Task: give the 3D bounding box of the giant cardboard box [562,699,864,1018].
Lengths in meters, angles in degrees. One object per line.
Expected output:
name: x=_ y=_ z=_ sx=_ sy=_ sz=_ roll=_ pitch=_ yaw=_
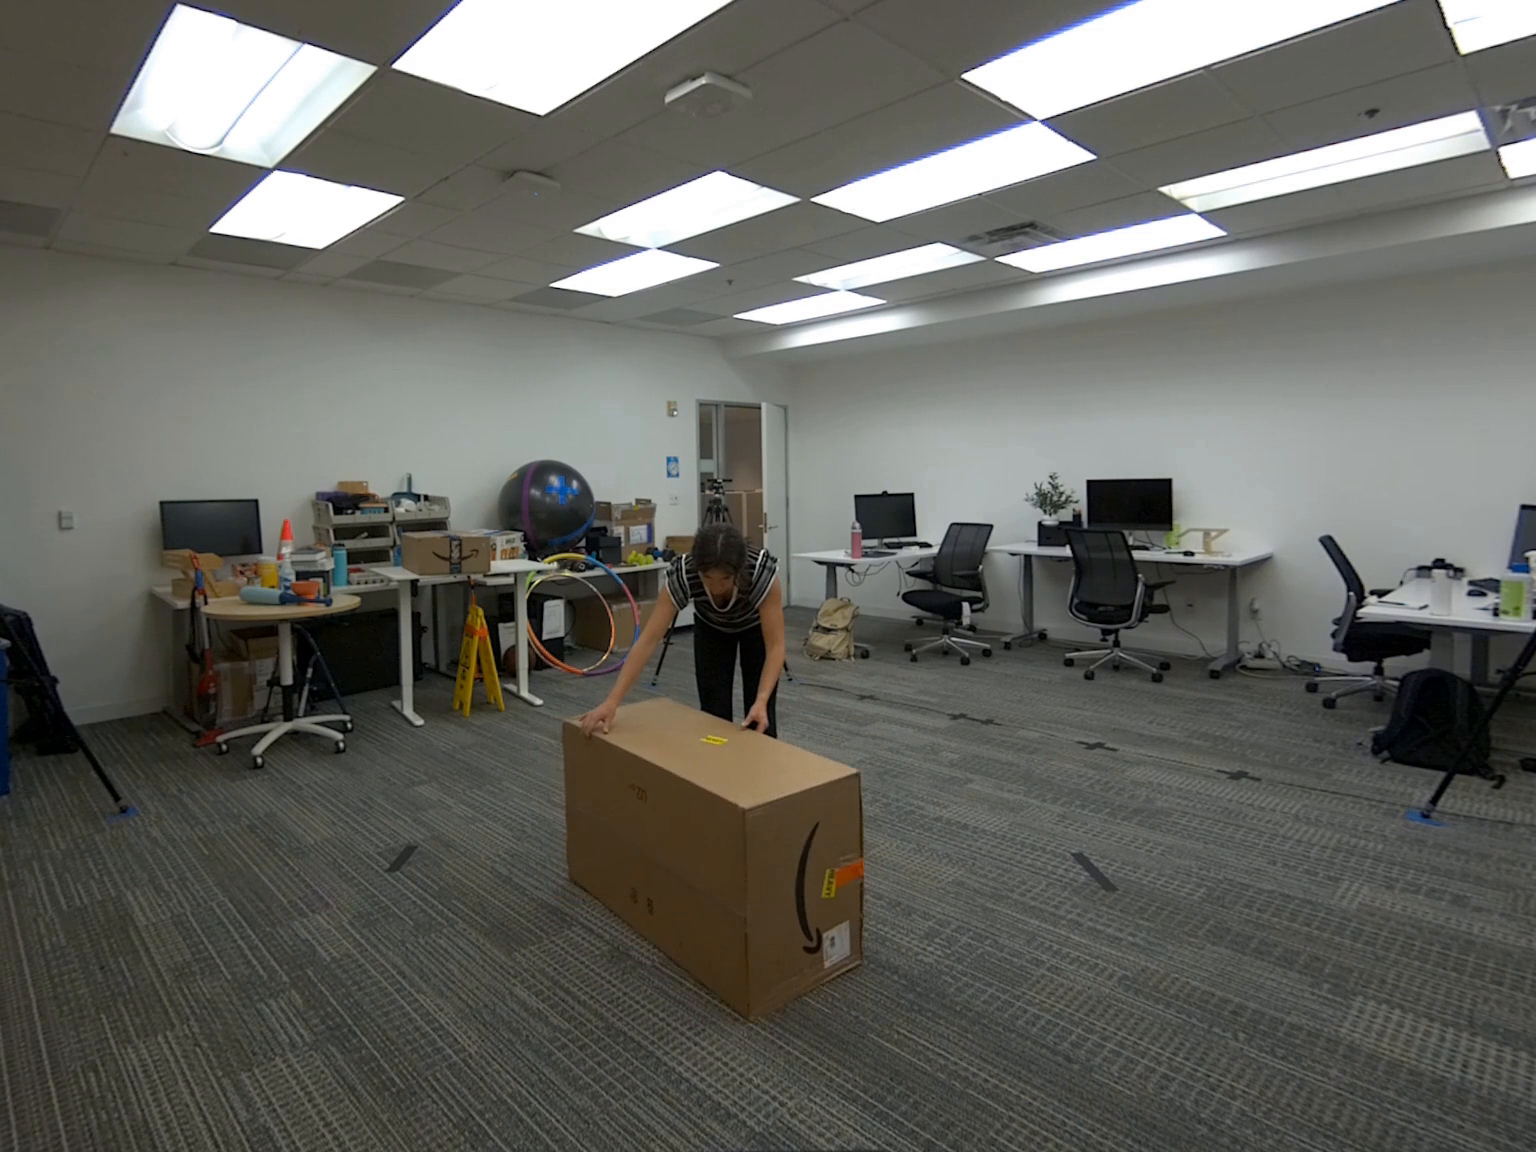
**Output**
giant cardboard box: x=-0.215 y=0.803 z=2.714 sx=0.415 sy=0.575 sz=1.058 roll=-5 pitch=7 yaw=-39
